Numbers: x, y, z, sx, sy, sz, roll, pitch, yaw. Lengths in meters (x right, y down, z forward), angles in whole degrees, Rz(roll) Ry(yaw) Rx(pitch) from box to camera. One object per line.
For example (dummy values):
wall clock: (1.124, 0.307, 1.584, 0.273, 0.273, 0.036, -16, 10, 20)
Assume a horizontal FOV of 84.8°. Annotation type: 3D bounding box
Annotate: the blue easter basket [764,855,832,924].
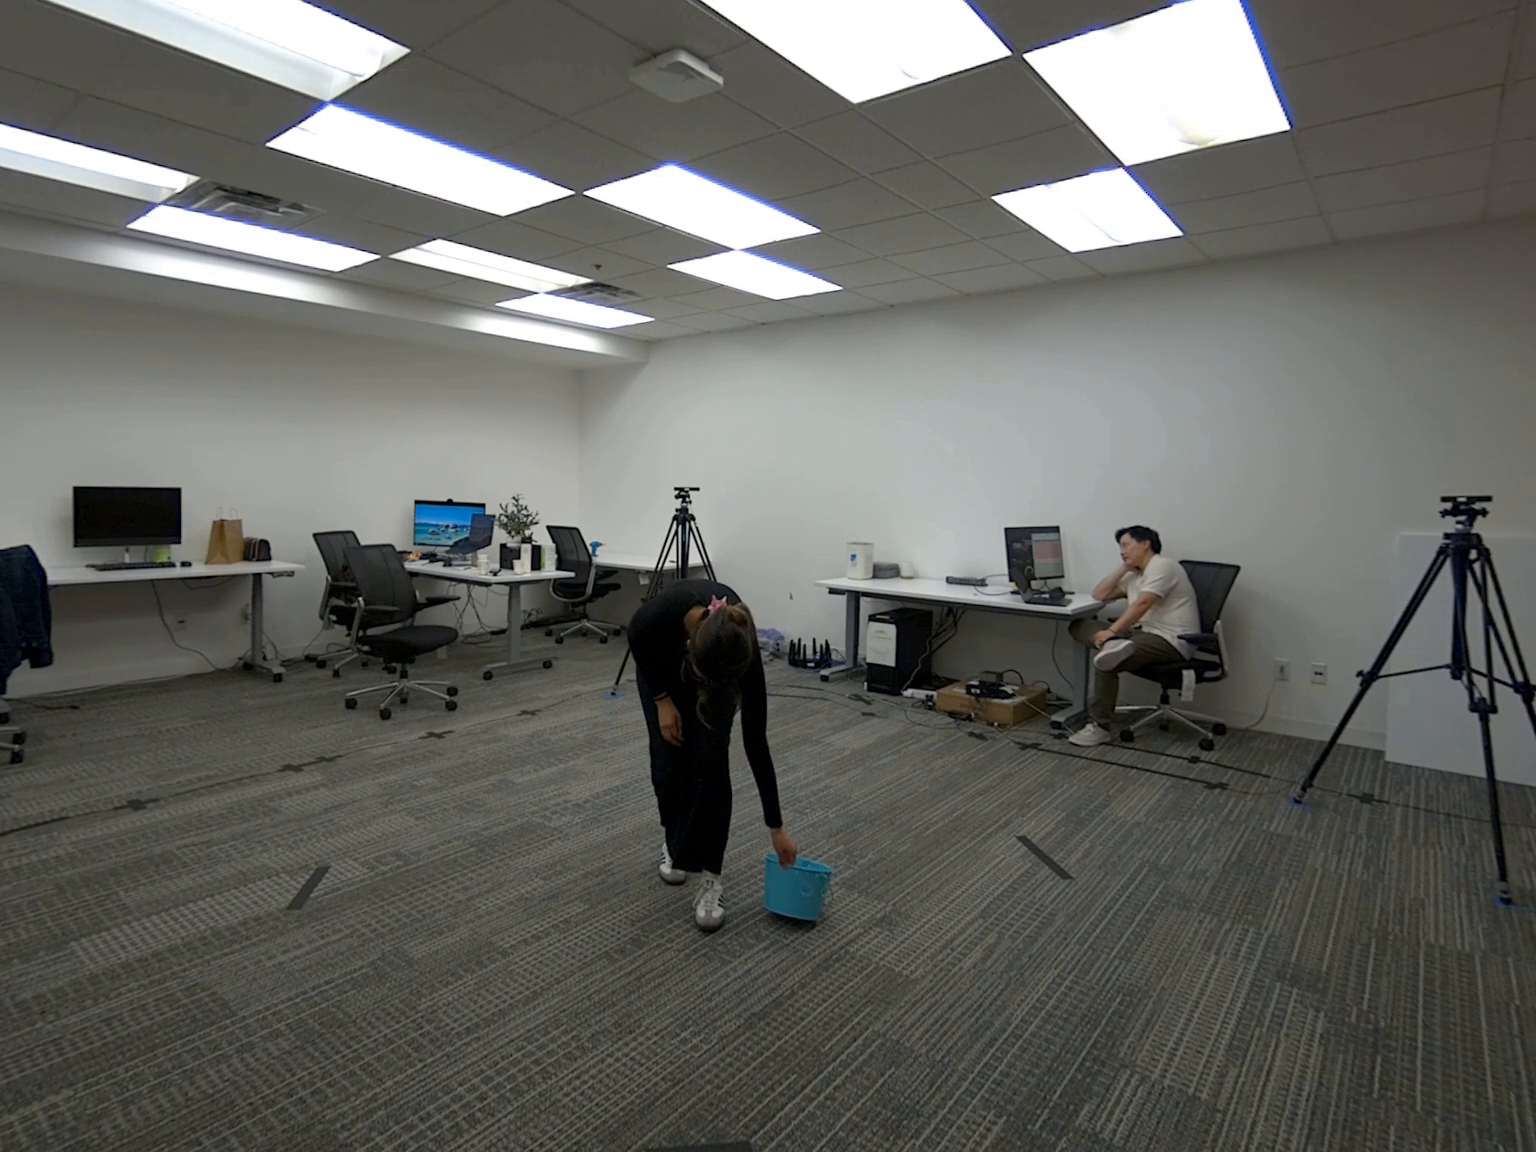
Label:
blue easter basket: (0.084, 1.009, 2.764, 0.244, 0.157, 0.242, 12, -9, 0)
